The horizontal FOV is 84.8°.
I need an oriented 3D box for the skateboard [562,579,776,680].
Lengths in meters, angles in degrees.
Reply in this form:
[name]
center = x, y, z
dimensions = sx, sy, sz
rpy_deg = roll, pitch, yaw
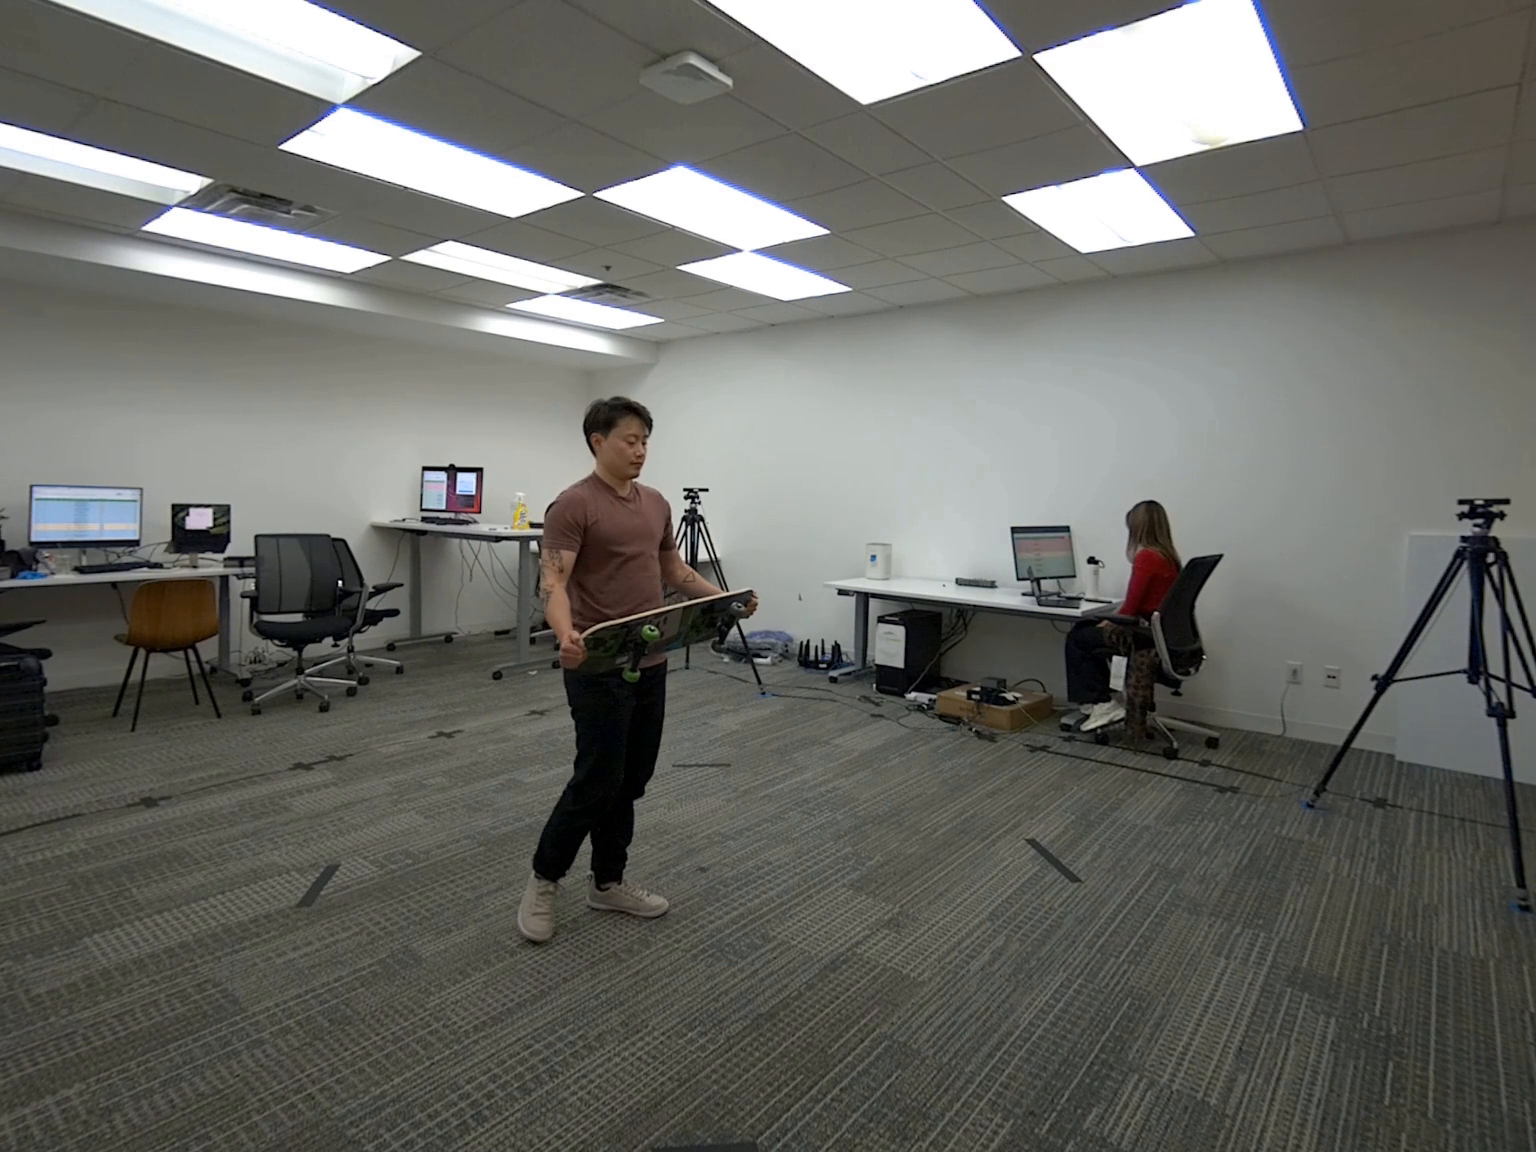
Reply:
[skateboard]
center = -0.277, 0.176, 2.587
dimensions = 0.114, 0.191, 0.766
rpy_deg = 35, 27, 26
